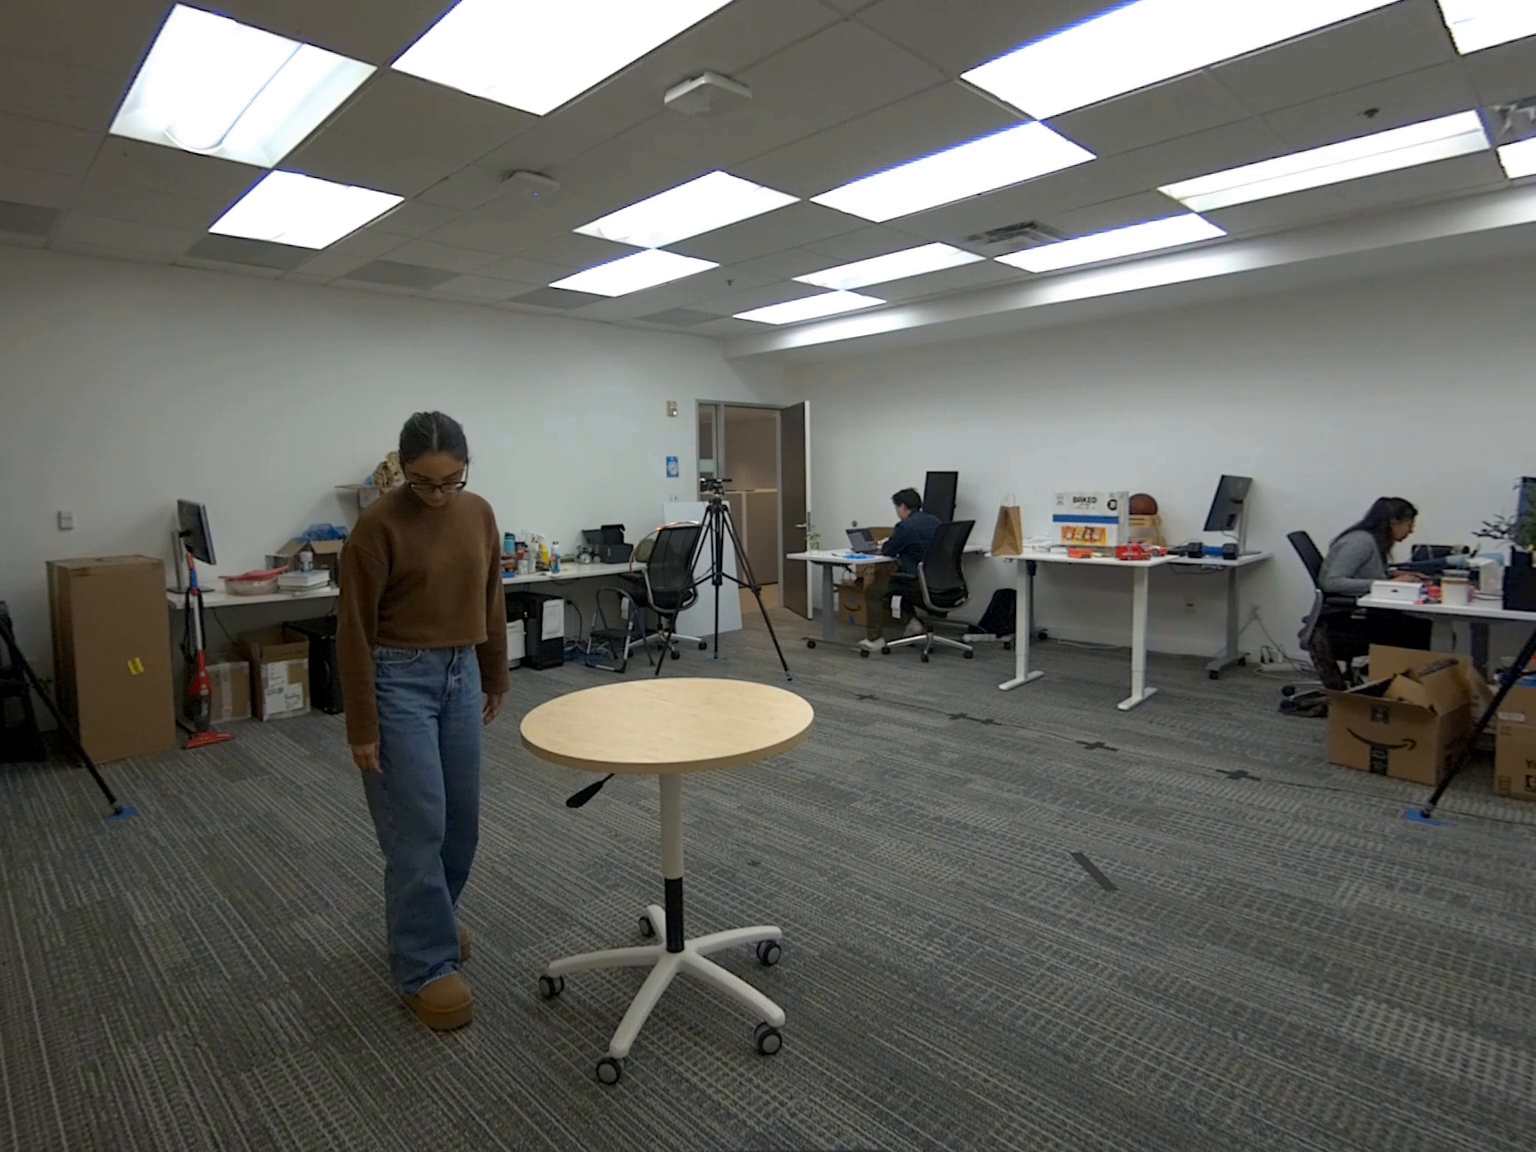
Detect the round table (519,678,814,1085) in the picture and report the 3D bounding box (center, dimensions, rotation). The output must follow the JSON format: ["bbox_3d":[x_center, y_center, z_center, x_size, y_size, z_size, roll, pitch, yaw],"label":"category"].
[{"bbox_3d":[-0.255,0.753,2.288,0.763,0.790,0.768,-2,6,-1],"label":"round table"}]
